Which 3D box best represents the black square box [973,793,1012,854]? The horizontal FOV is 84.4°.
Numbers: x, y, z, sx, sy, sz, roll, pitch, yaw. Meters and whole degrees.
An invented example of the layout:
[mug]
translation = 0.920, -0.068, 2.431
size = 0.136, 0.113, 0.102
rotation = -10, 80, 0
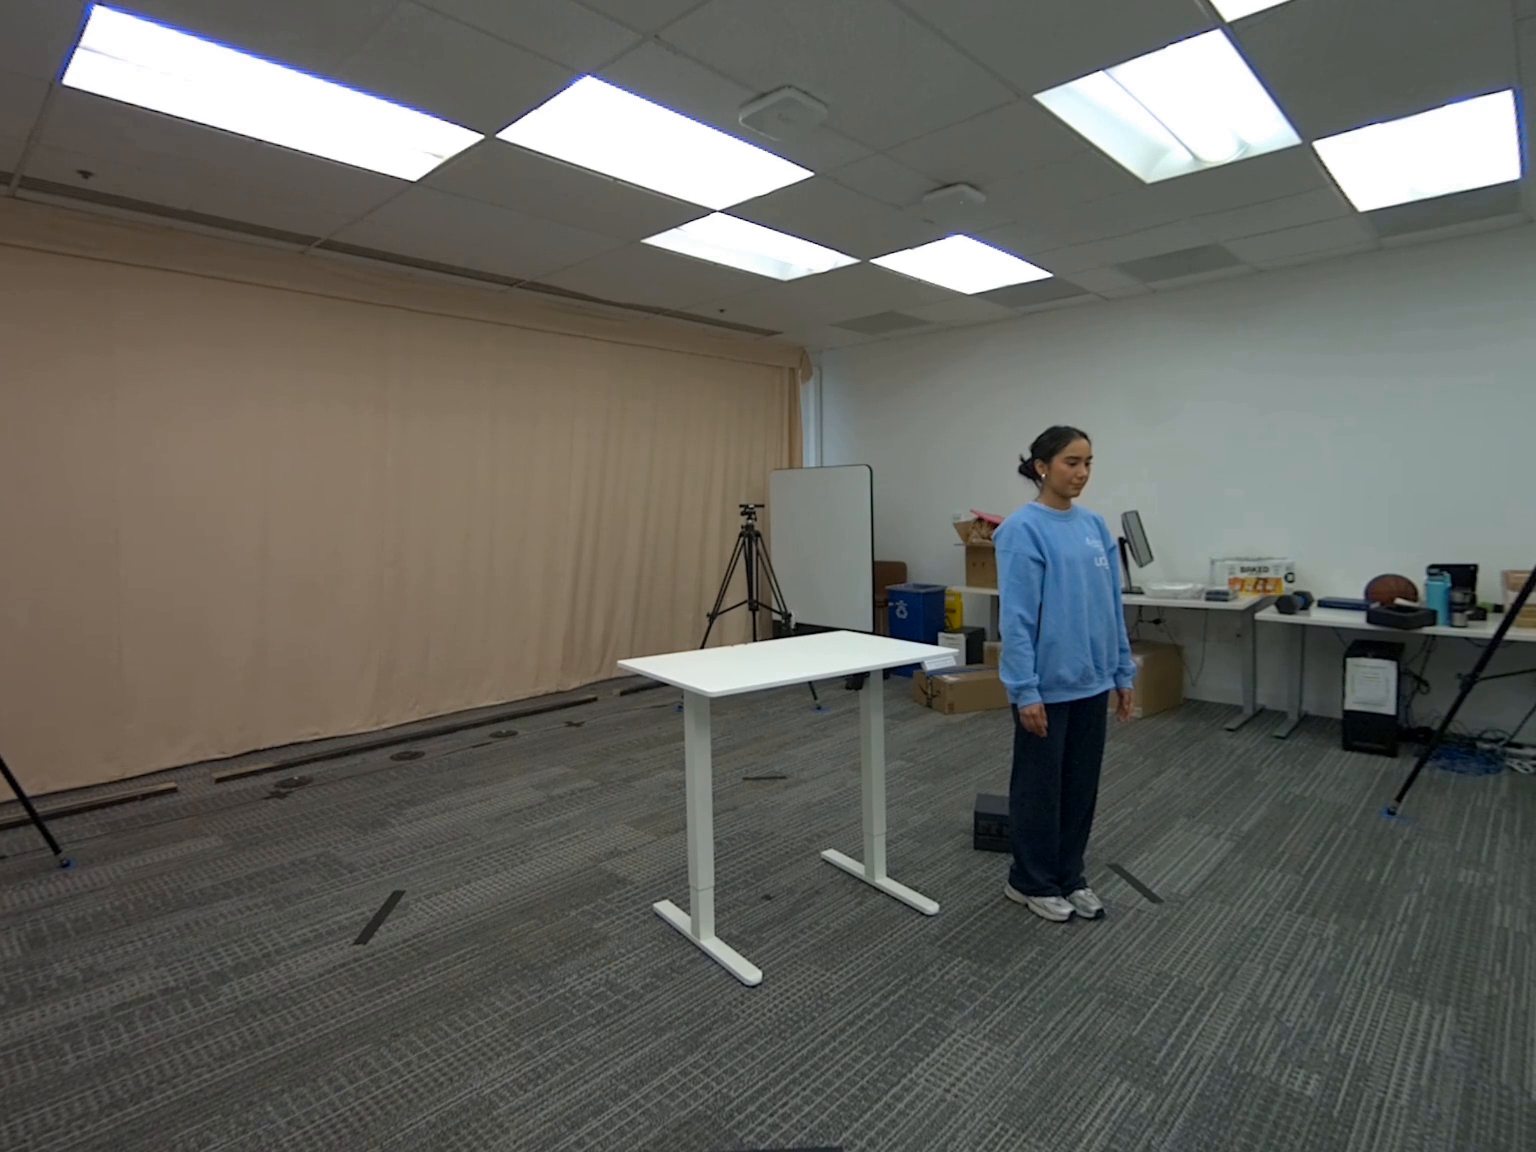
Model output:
[black square box]
translation = 0.958, 1.002, 3.426
size = 0.221, 0.155, 0.224
rotation = 1, 5, 18
